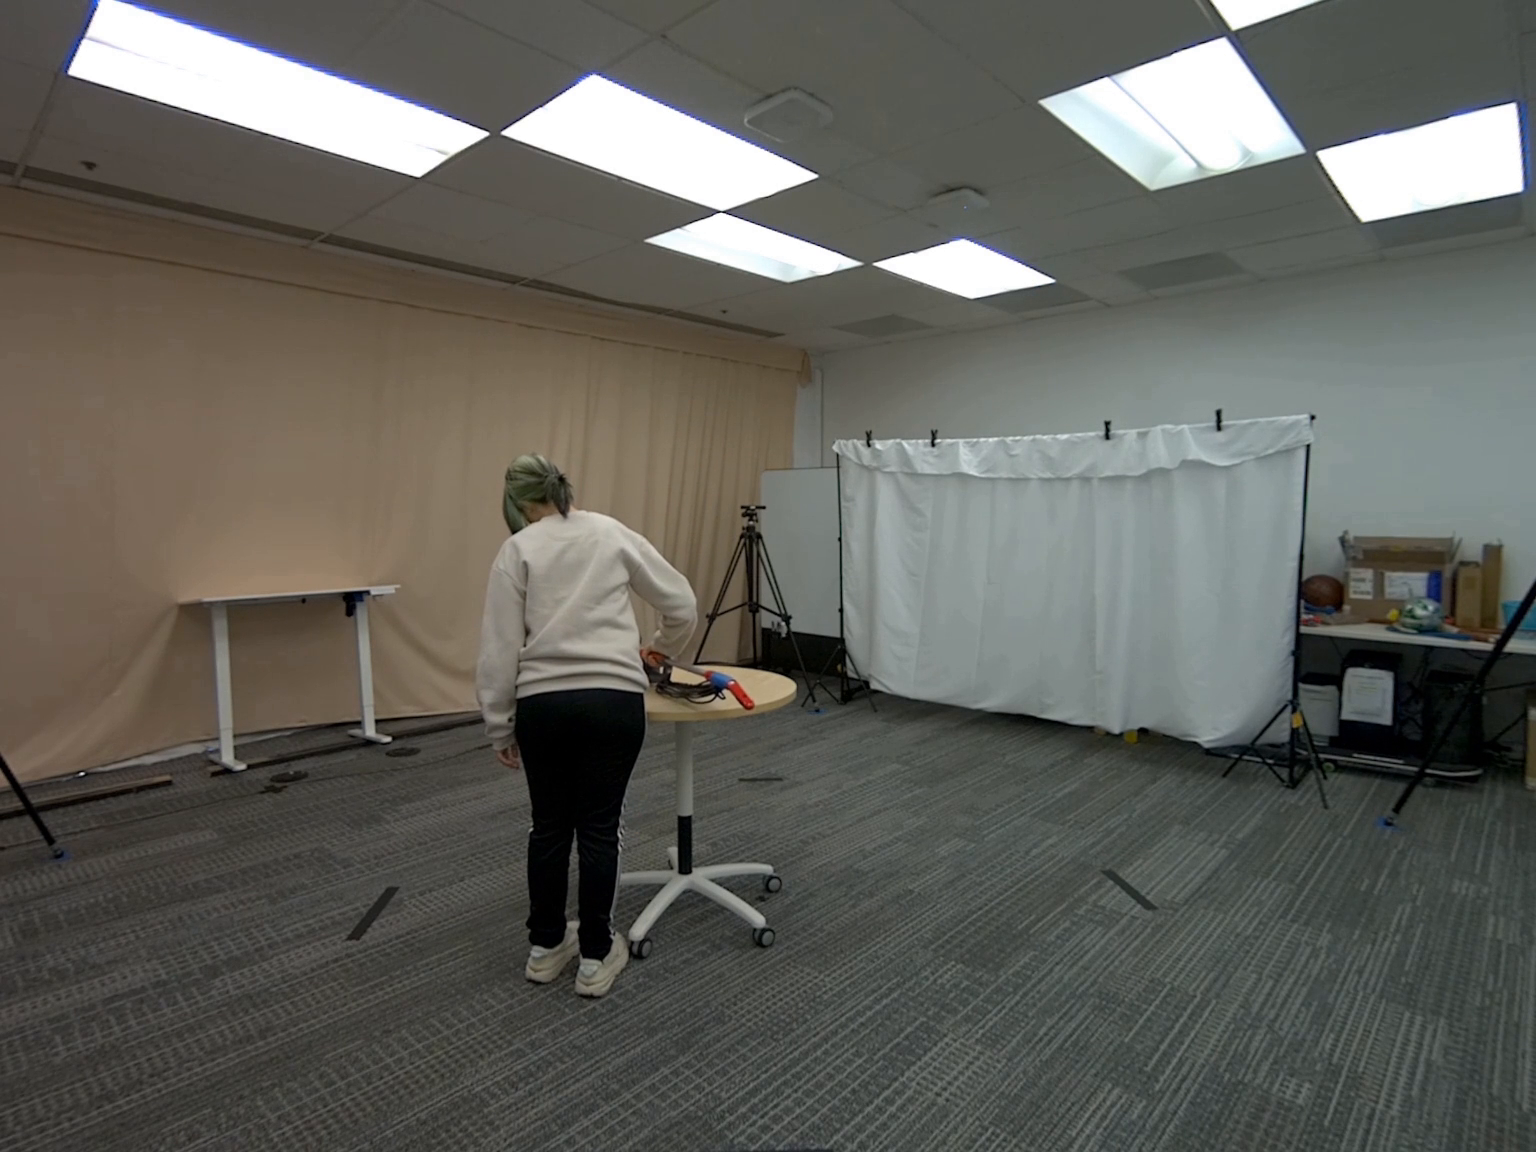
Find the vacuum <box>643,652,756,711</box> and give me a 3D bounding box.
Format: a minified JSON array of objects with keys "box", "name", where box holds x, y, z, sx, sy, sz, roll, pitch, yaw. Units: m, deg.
[{"box":[-0.322,0.335,2.719,0.247,0.143,1.079,-9,8,-28],"name":"vacuum"}]
